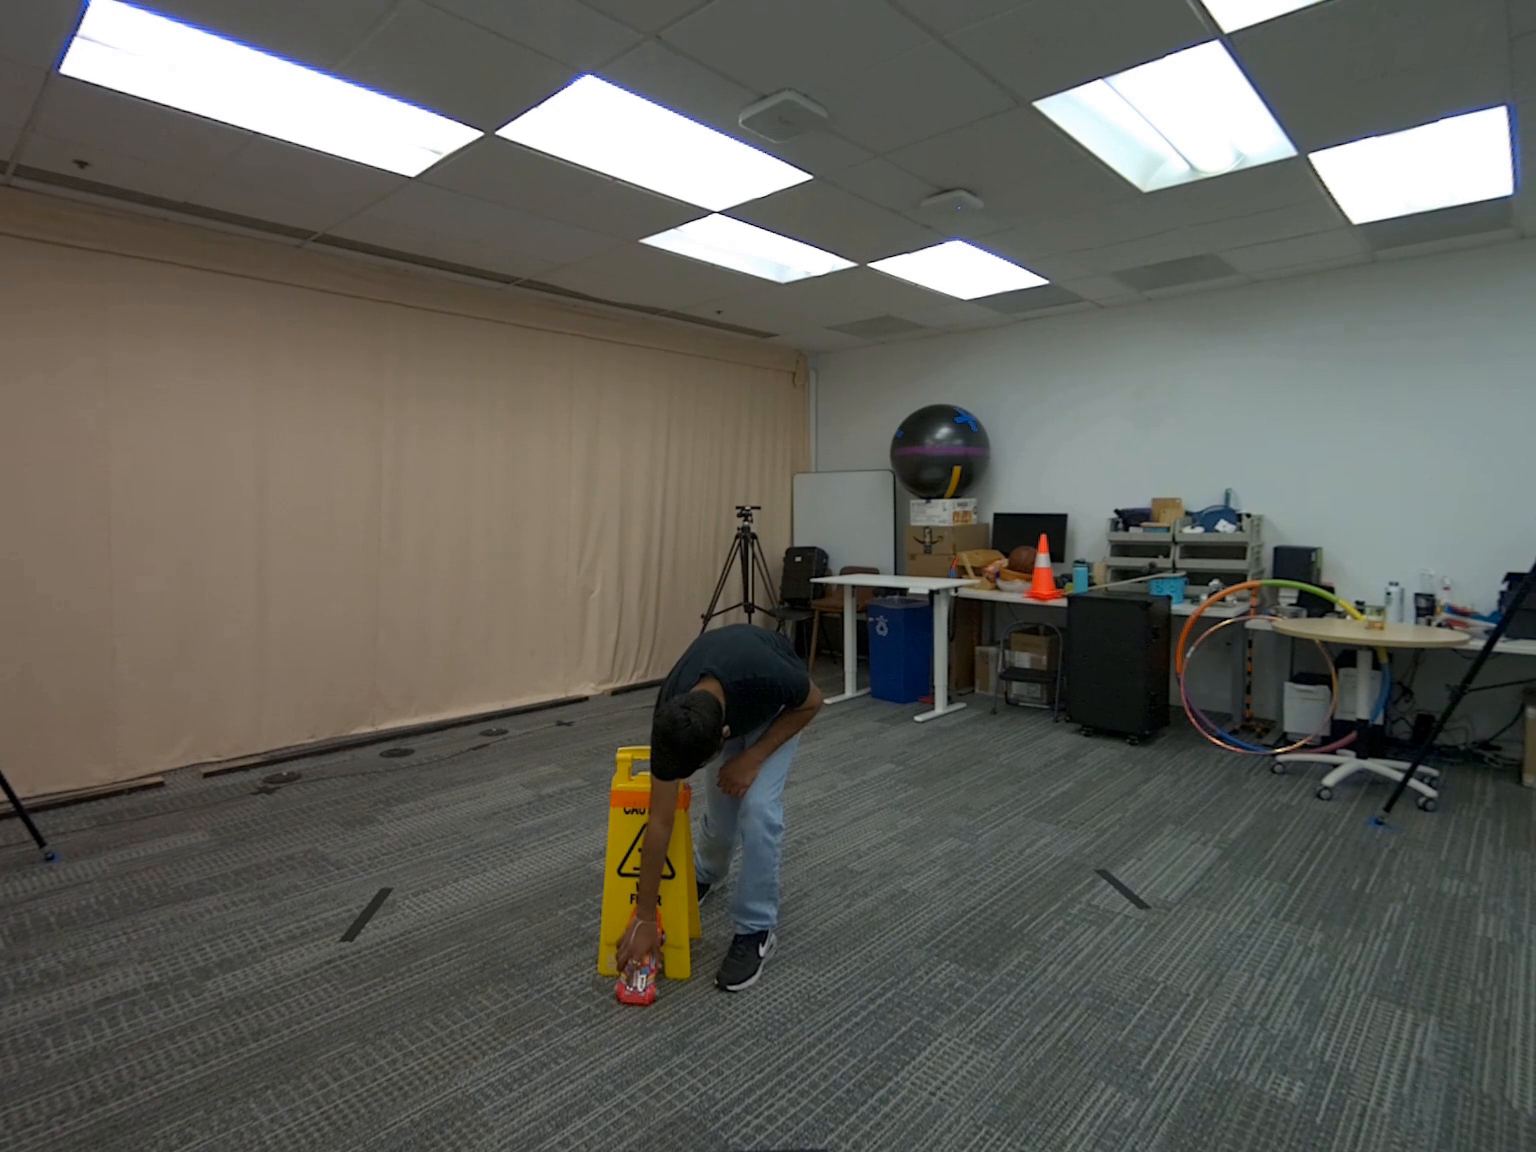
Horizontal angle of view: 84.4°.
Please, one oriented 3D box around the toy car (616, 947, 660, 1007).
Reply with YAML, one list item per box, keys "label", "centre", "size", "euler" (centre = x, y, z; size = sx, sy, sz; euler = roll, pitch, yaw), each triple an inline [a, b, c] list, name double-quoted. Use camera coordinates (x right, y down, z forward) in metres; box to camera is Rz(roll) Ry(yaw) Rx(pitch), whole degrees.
- label: "toy car"
  centre: [-0.364, 1.094, 2.429]
  size: [0.131, 0.258, 0.081]
  euler: [0, -29, 8]
